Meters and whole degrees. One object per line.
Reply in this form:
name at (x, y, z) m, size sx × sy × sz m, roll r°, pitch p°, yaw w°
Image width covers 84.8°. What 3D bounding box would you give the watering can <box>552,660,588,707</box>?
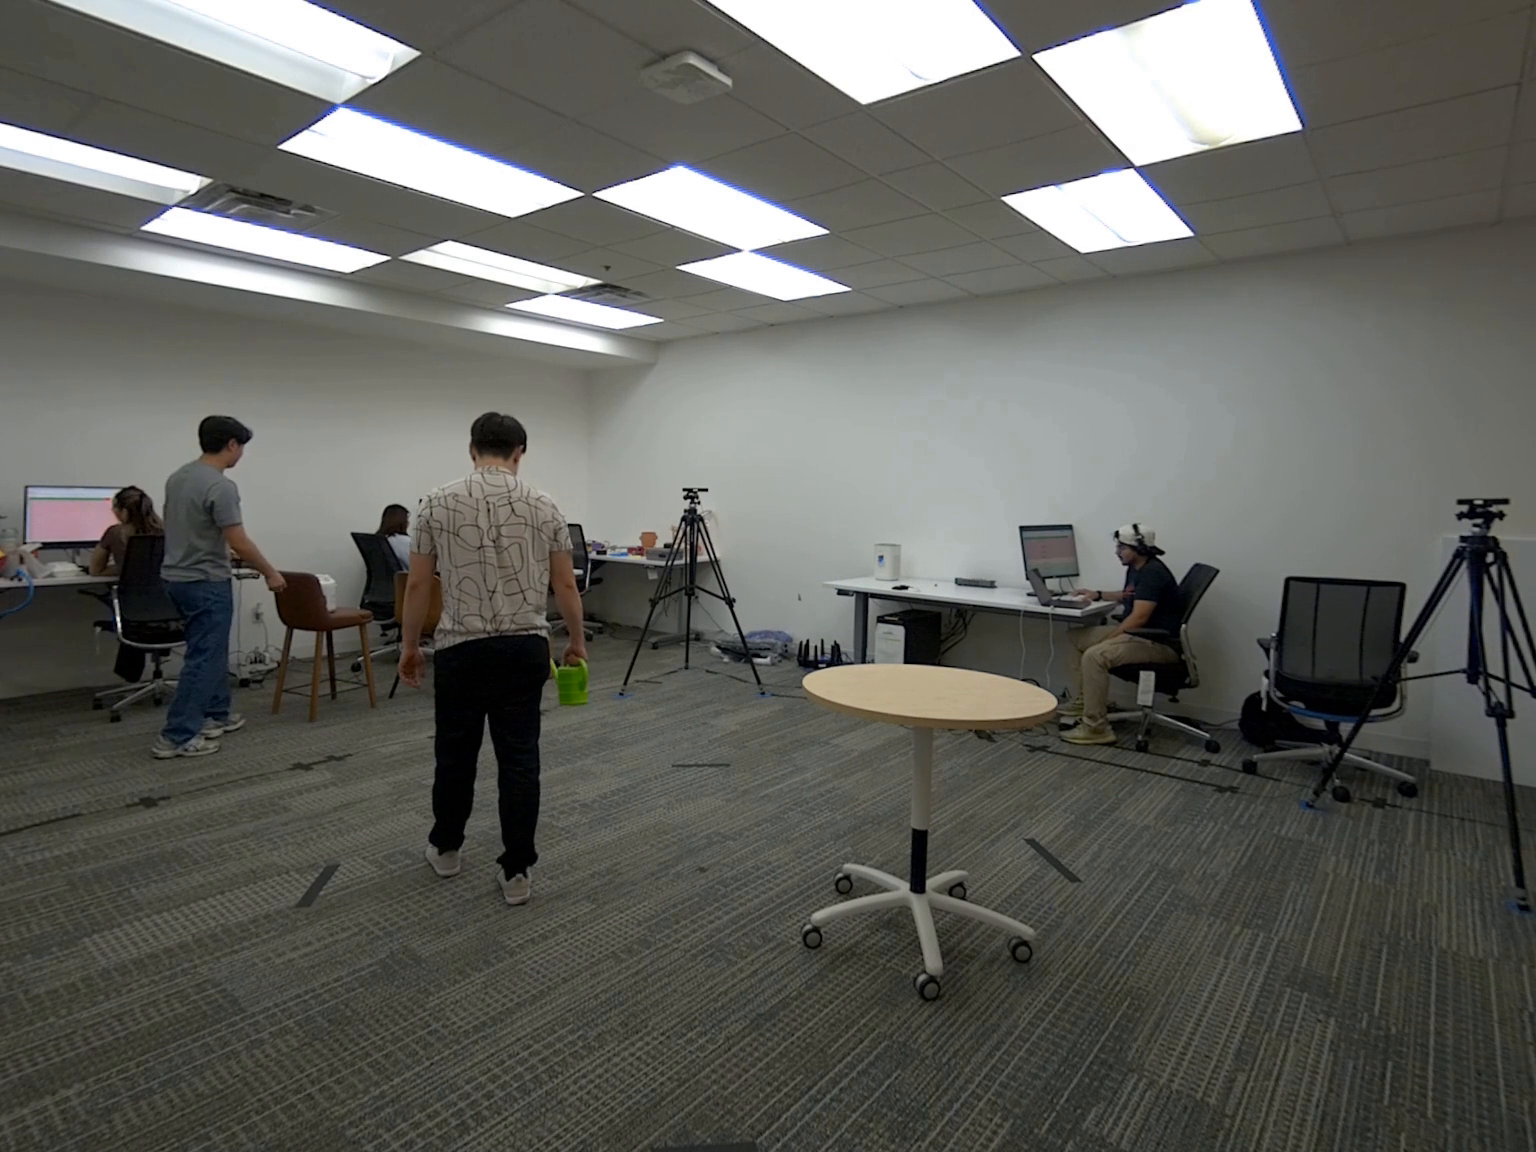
watering can at (-0.762, 0.374, 3.146) m, size 0.095 × 0.177 × 0.285 m, roll -2°, pitch -1°, yaw -30°
